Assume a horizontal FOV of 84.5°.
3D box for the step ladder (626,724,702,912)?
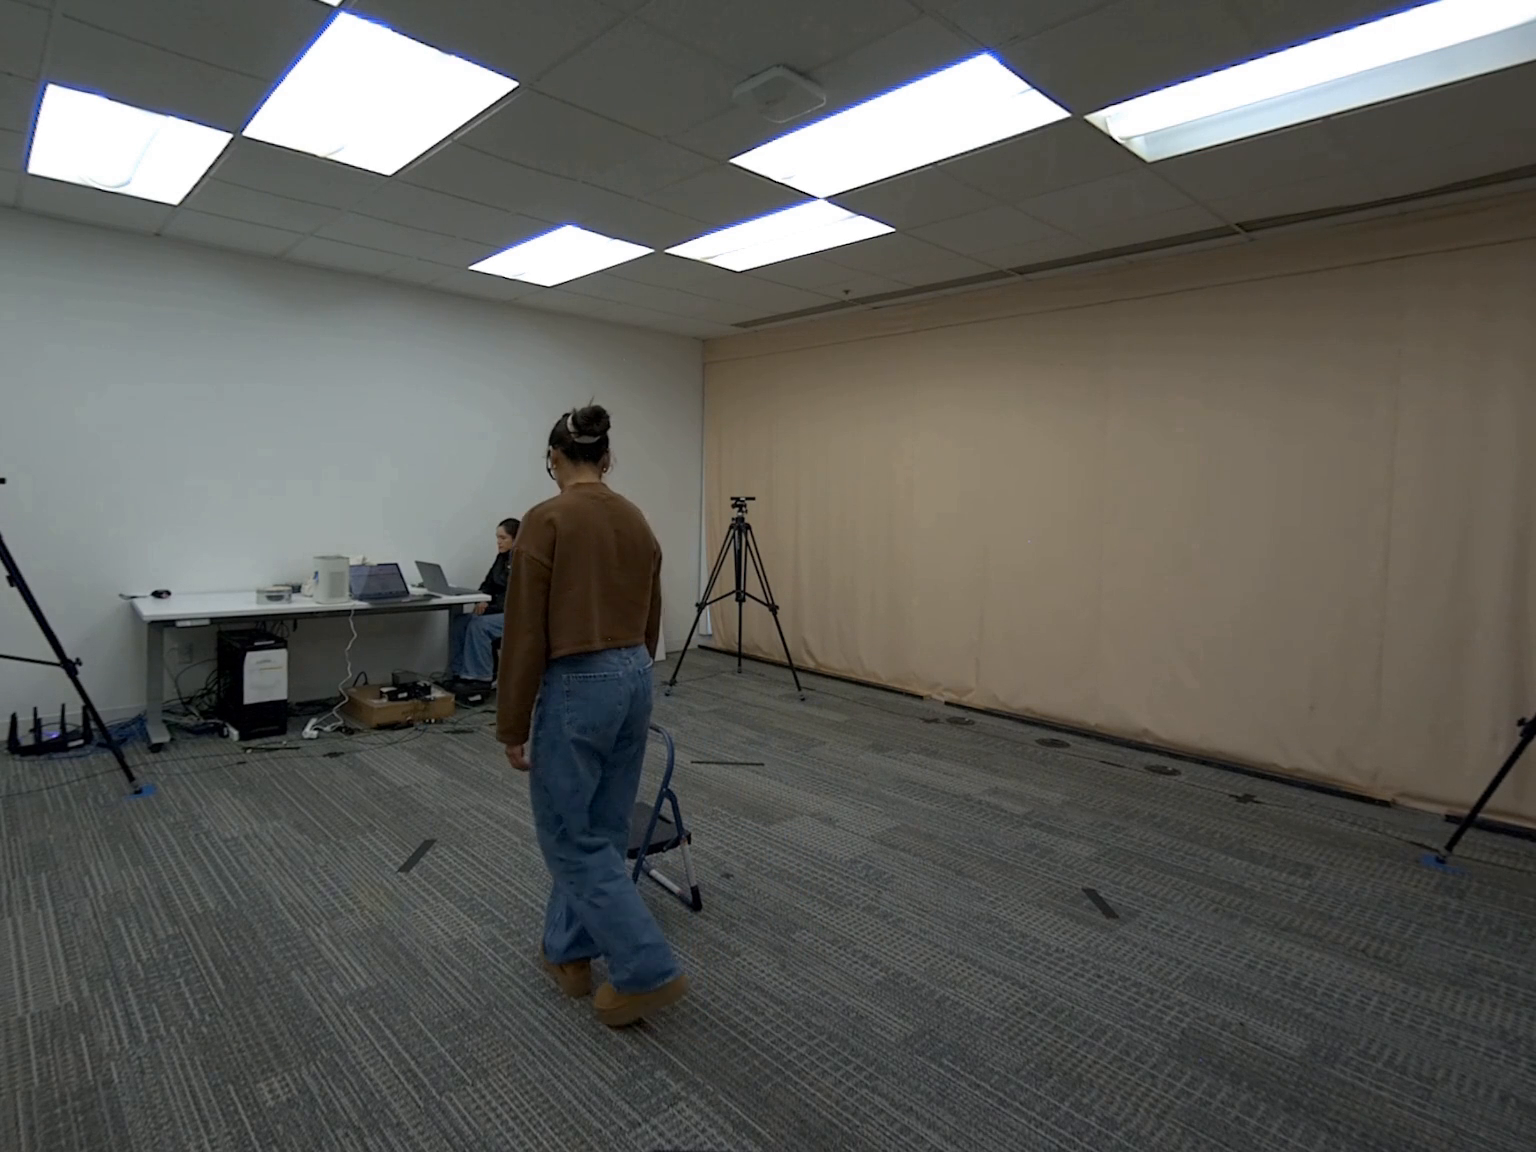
[{"bbox_3d":[-0.474,0.817,2.888,0.341,0.605,0.441,-1,4,-37],"label":"step ladder"}]
